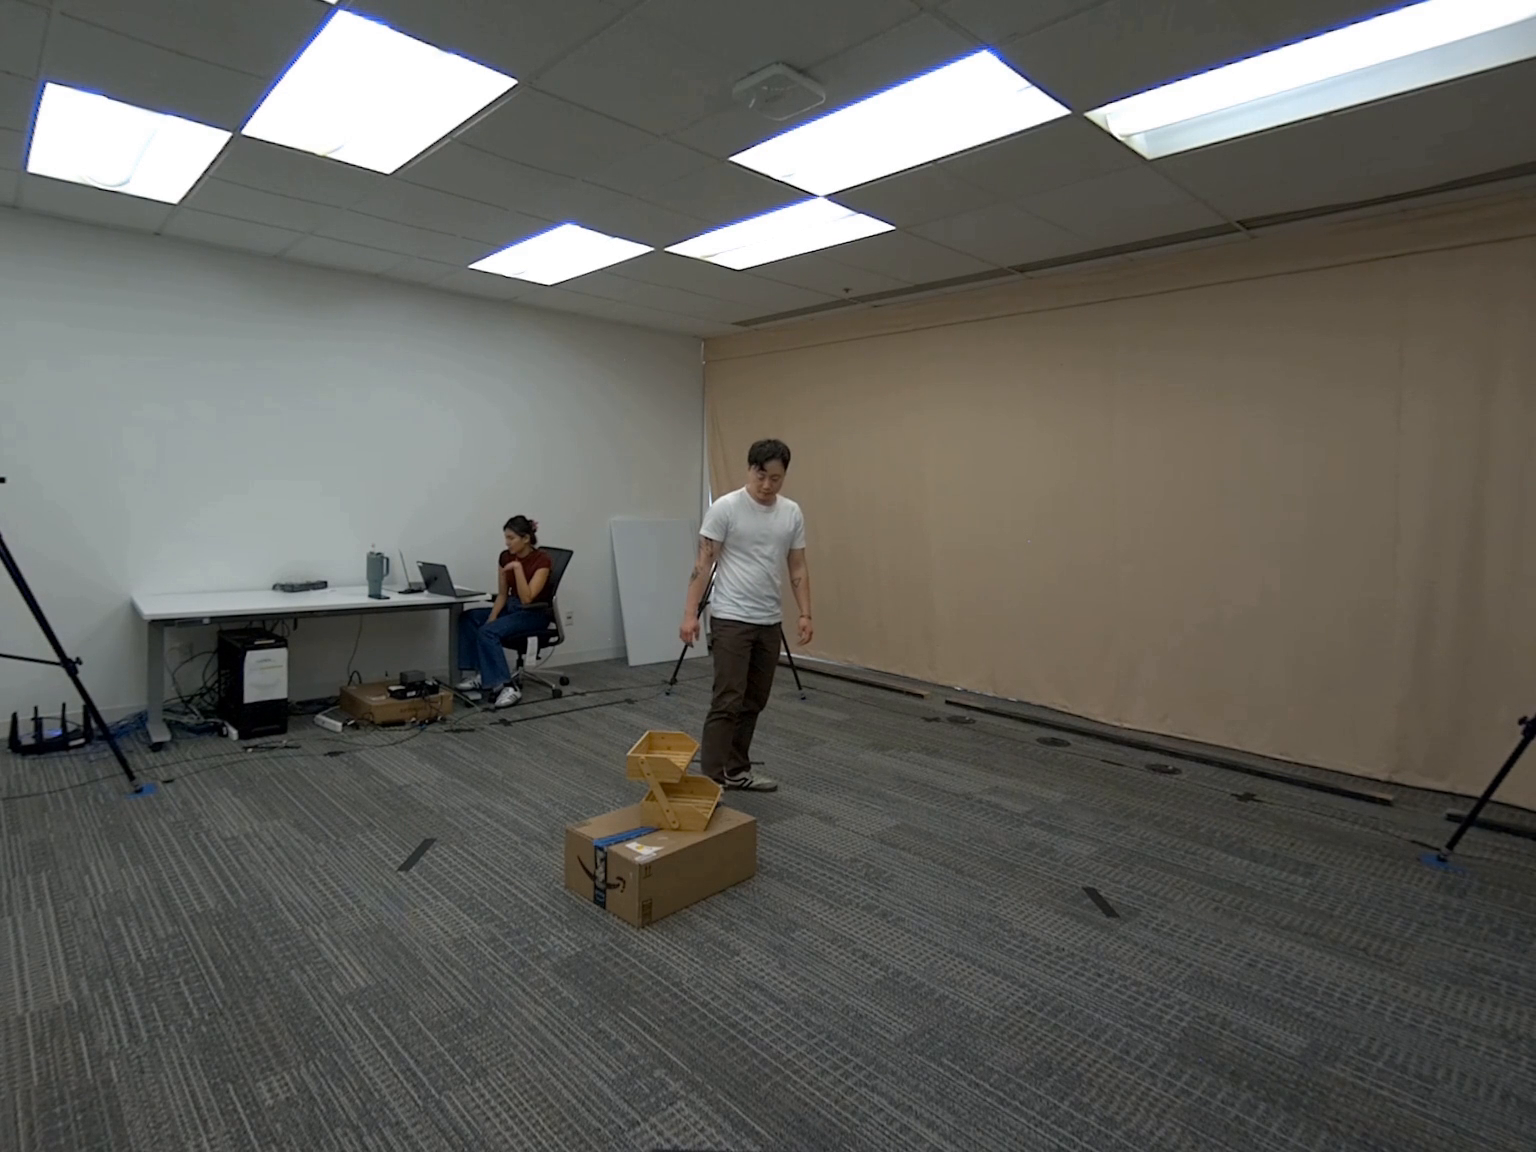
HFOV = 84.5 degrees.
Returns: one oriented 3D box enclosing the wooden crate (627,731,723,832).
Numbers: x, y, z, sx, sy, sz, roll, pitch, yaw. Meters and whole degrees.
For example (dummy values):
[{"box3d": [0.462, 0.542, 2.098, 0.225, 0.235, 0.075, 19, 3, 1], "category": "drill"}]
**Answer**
[{"box3d": [-0.343, 0.746, 3.124, 0.304, 0.272, 0.323, 1, 5, 8], "category": "wooden crate"}]
